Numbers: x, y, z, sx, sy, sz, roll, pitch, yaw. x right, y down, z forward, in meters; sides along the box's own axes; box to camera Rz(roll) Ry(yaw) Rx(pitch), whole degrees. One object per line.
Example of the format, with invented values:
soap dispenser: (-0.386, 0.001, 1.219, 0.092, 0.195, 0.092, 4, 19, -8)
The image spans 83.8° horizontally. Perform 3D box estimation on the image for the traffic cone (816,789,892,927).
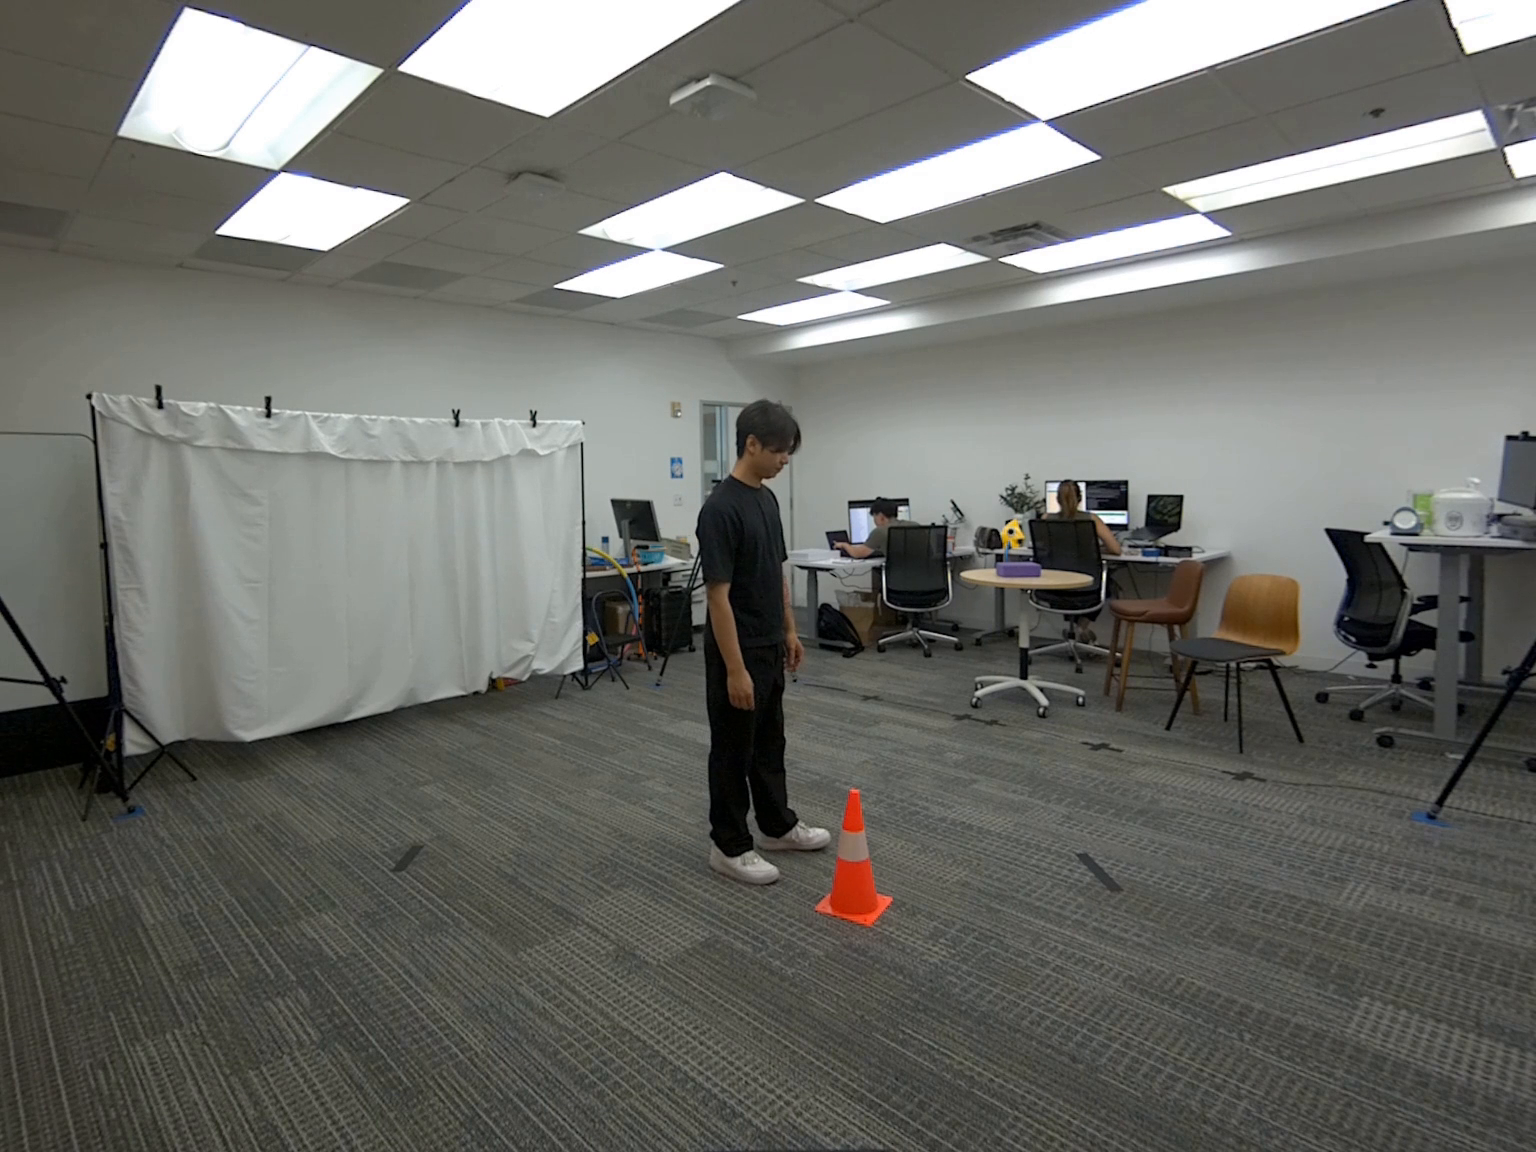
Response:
traffic cone: (0.288, 0.893, 2.784, 0.211, 0.382, 0.198, 2, 6, 35)
